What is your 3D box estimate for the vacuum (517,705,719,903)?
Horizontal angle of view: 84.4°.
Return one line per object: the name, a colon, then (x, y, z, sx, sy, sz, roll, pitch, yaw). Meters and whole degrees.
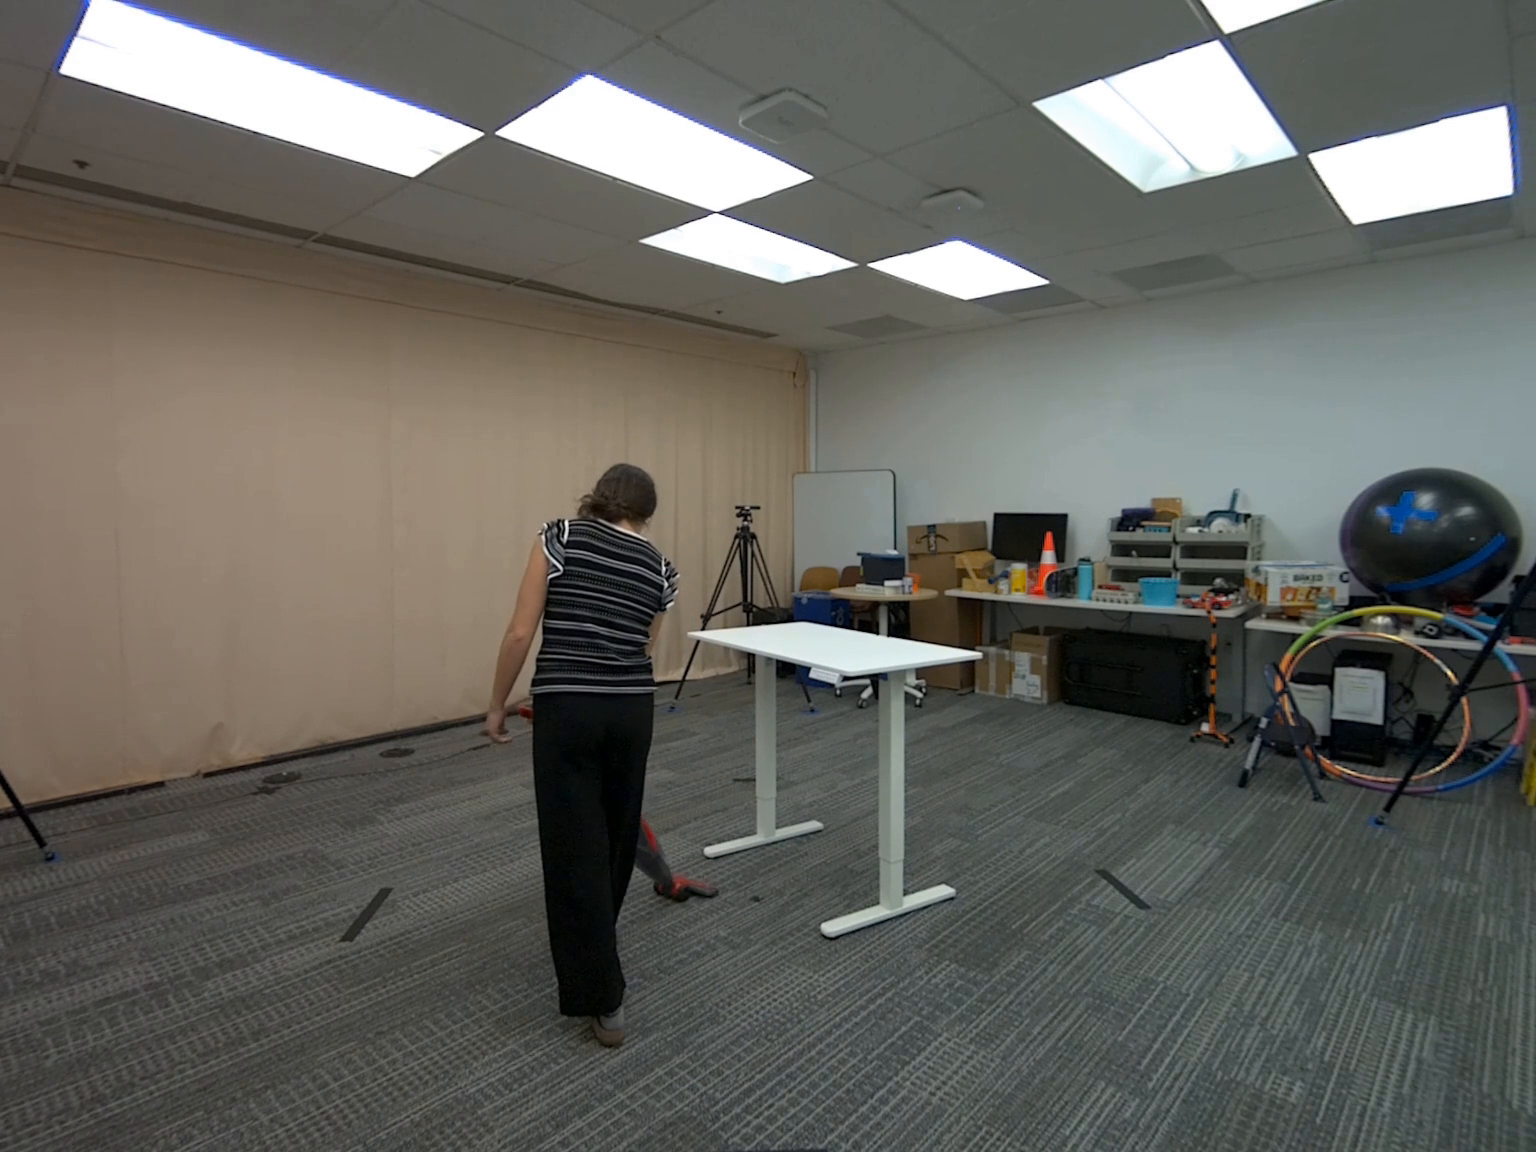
vacuum: (-0.516, 0.777, 2.774, 0.259, 1.018, 0.144, -7, 40, 32)
